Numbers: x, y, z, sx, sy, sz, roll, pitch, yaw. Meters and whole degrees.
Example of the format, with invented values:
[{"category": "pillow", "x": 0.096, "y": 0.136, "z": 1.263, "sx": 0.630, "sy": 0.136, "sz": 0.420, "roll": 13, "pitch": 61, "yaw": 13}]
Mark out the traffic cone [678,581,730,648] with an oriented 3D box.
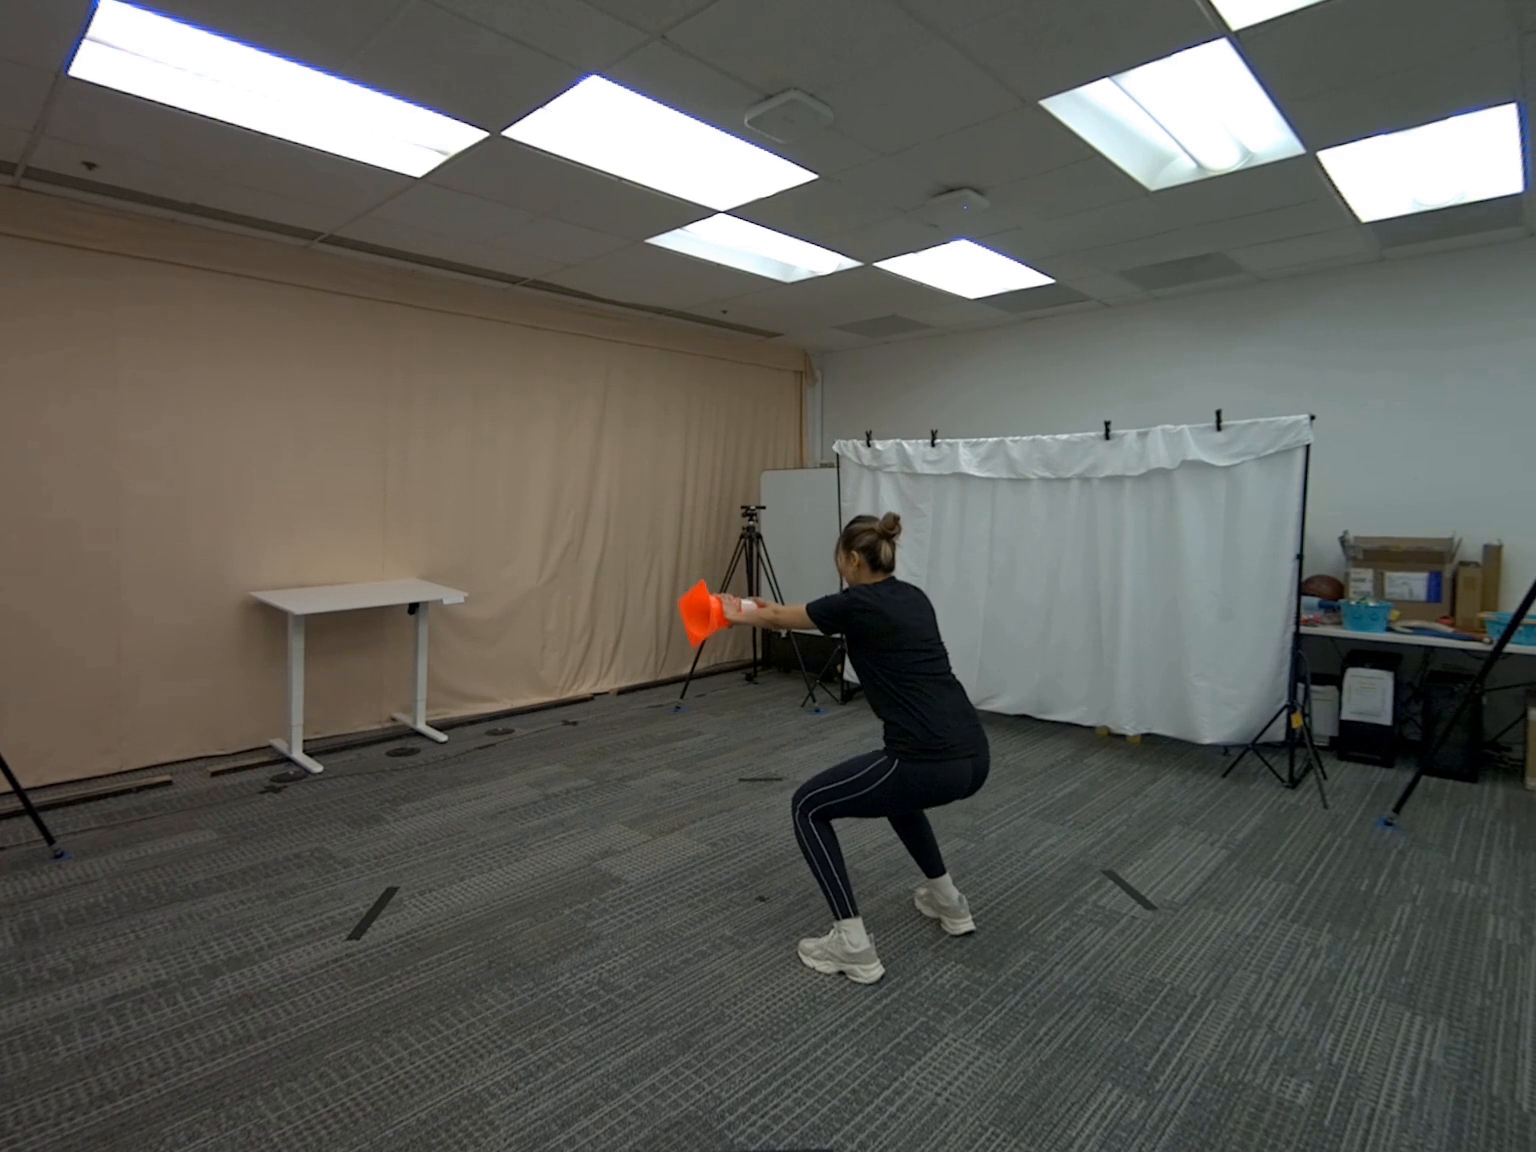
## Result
[{"category": "traffic cone", "x": -0.105, "y": 0.141, "z": 3.210, "sx": 0.372, "sy": 0.209, "sz": 0.206, "roll": 0, "pitch": -26, "yaw": -36}]
